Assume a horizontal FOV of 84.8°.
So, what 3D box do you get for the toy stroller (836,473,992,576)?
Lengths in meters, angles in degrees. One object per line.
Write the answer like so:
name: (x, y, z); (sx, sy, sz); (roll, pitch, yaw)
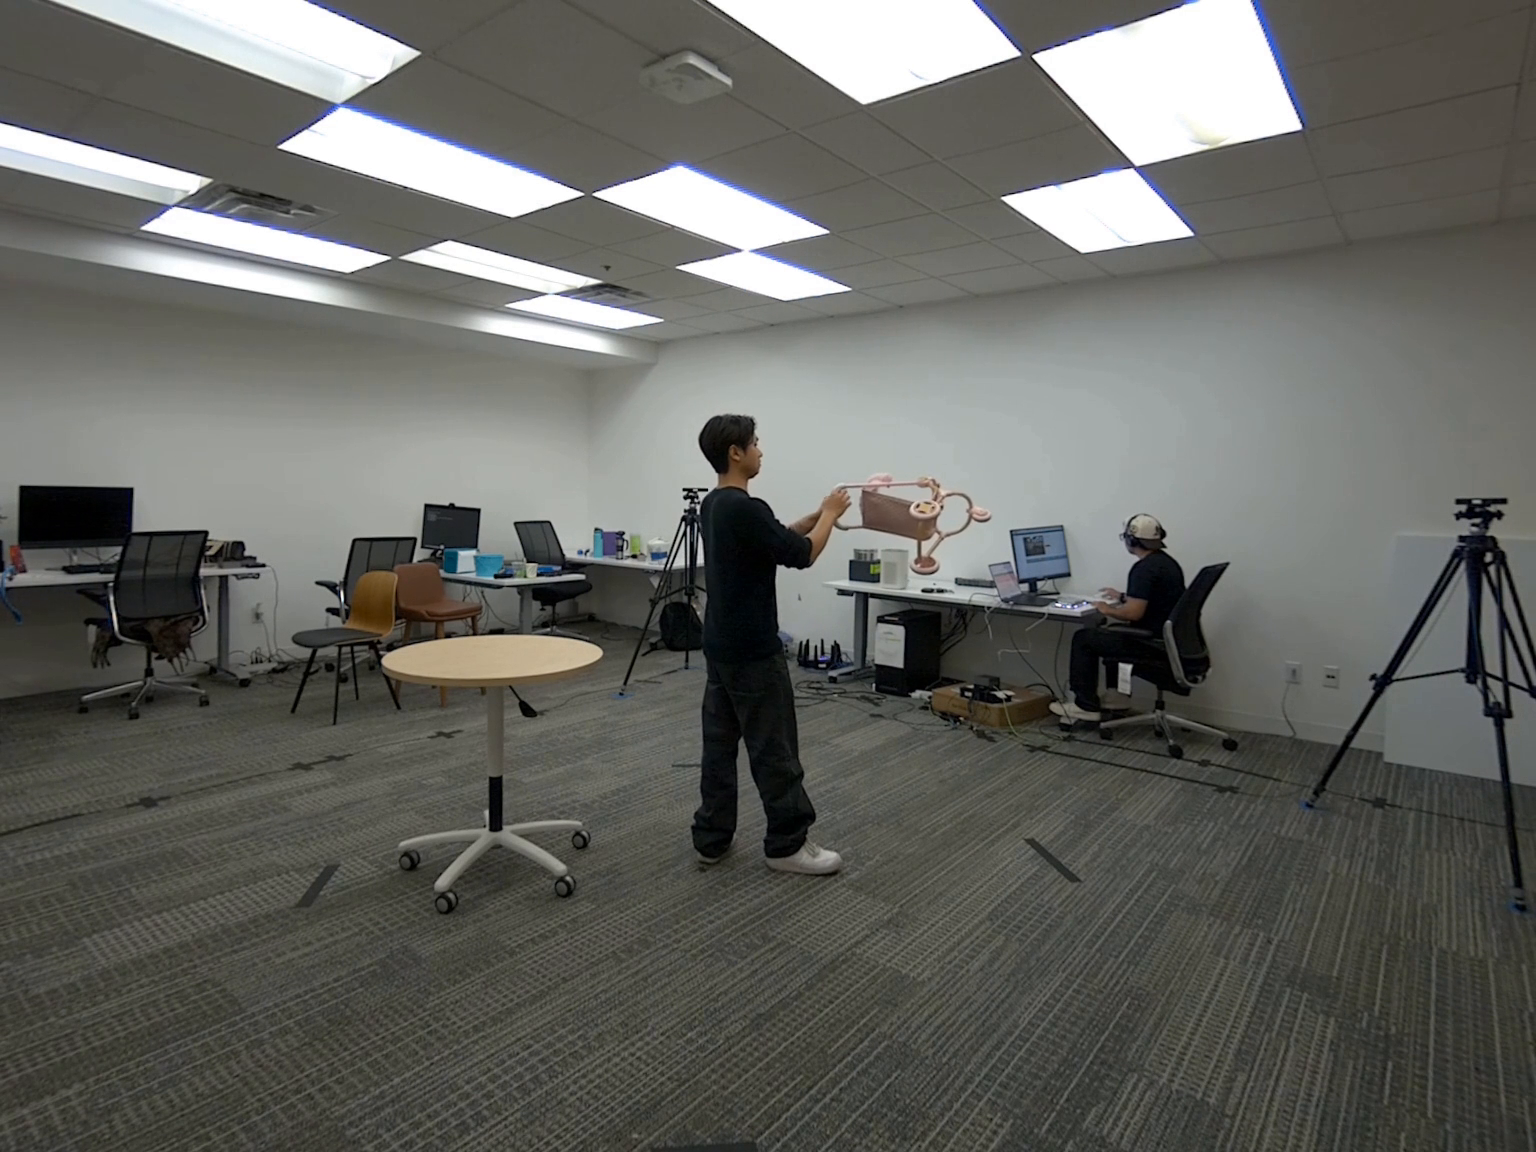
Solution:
toy stroller: (0.538, -0.253, 3.281); (0.339, 0.272, 0.557); (-36, 44, -26)
